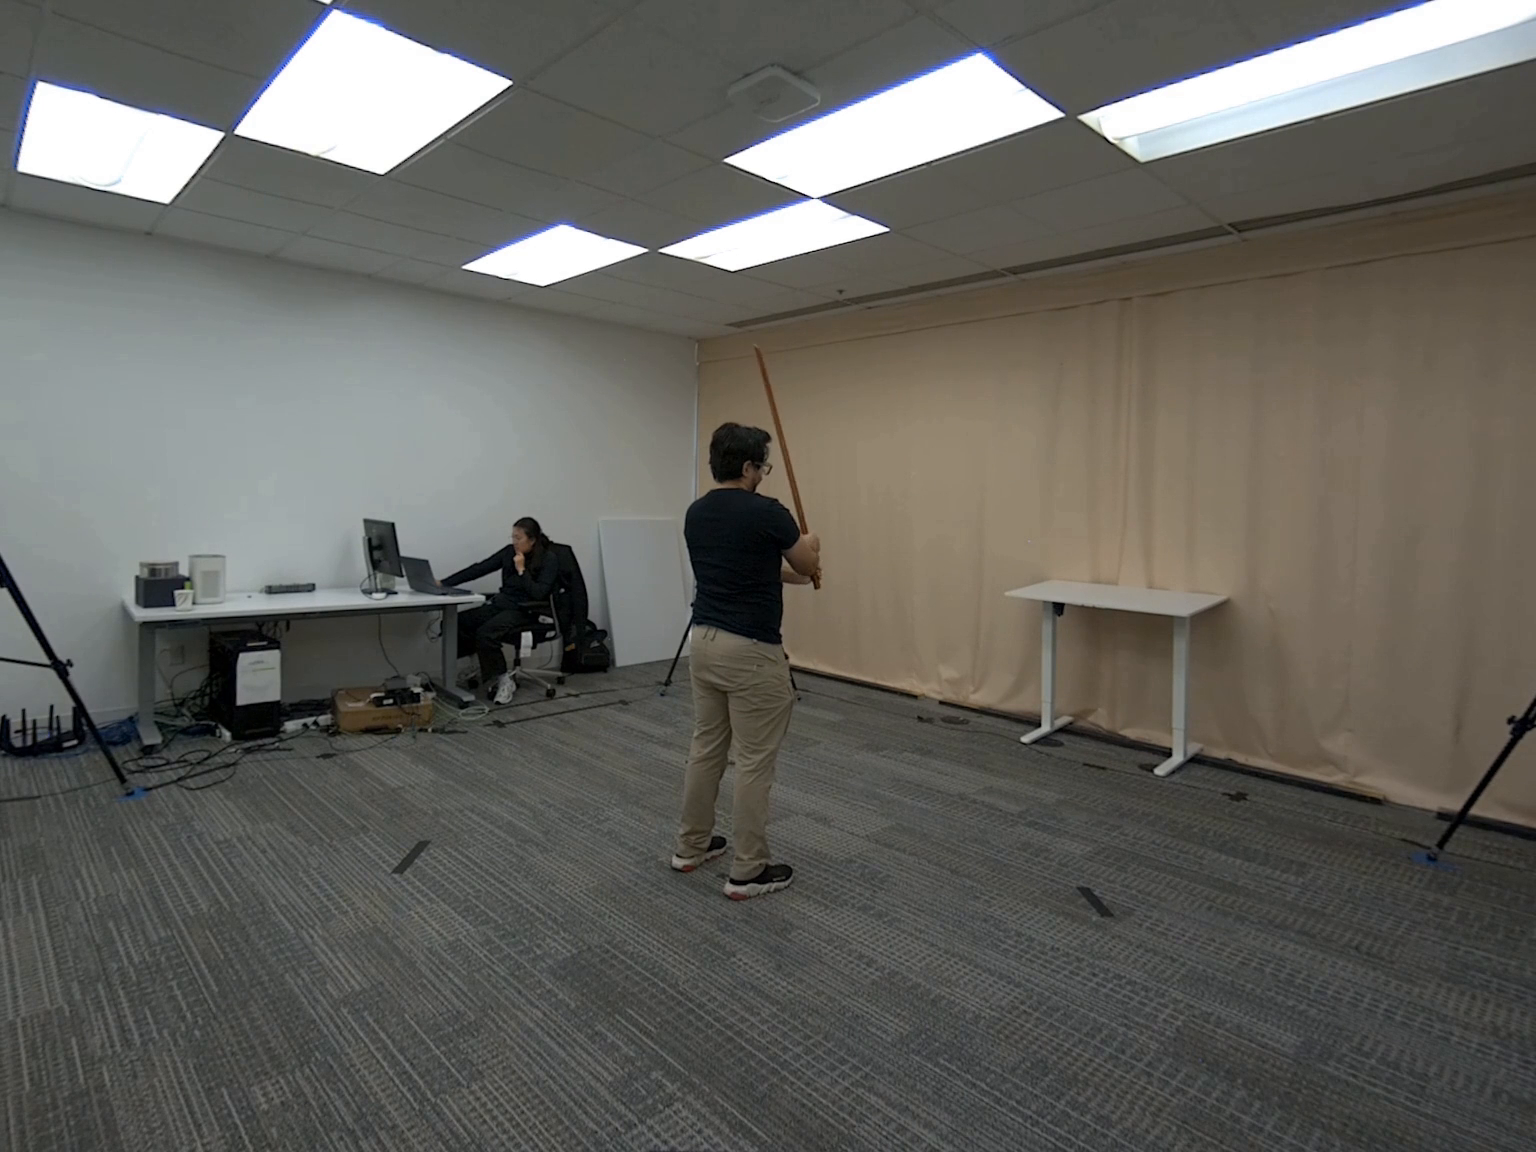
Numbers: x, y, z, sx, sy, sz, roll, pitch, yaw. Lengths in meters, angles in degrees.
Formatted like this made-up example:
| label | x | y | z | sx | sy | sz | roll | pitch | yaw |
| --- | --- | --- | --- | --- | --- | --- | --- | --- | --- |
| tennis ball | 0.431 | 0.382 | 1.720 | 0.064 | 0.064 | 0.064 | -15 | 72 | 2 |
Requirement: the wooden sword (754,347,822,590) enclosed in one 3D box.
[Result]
| label | x | y | z | sx | sy | sz | roll | pitch | yaw |
| --- | --- | --- | --- | --- | --- | --- | --- | --- | --- |
| wooden sword | 0.073 | -0.457 | 3.422 | 0.050 | 1.030 | 0.024 | -9 | -8 | -37 |
